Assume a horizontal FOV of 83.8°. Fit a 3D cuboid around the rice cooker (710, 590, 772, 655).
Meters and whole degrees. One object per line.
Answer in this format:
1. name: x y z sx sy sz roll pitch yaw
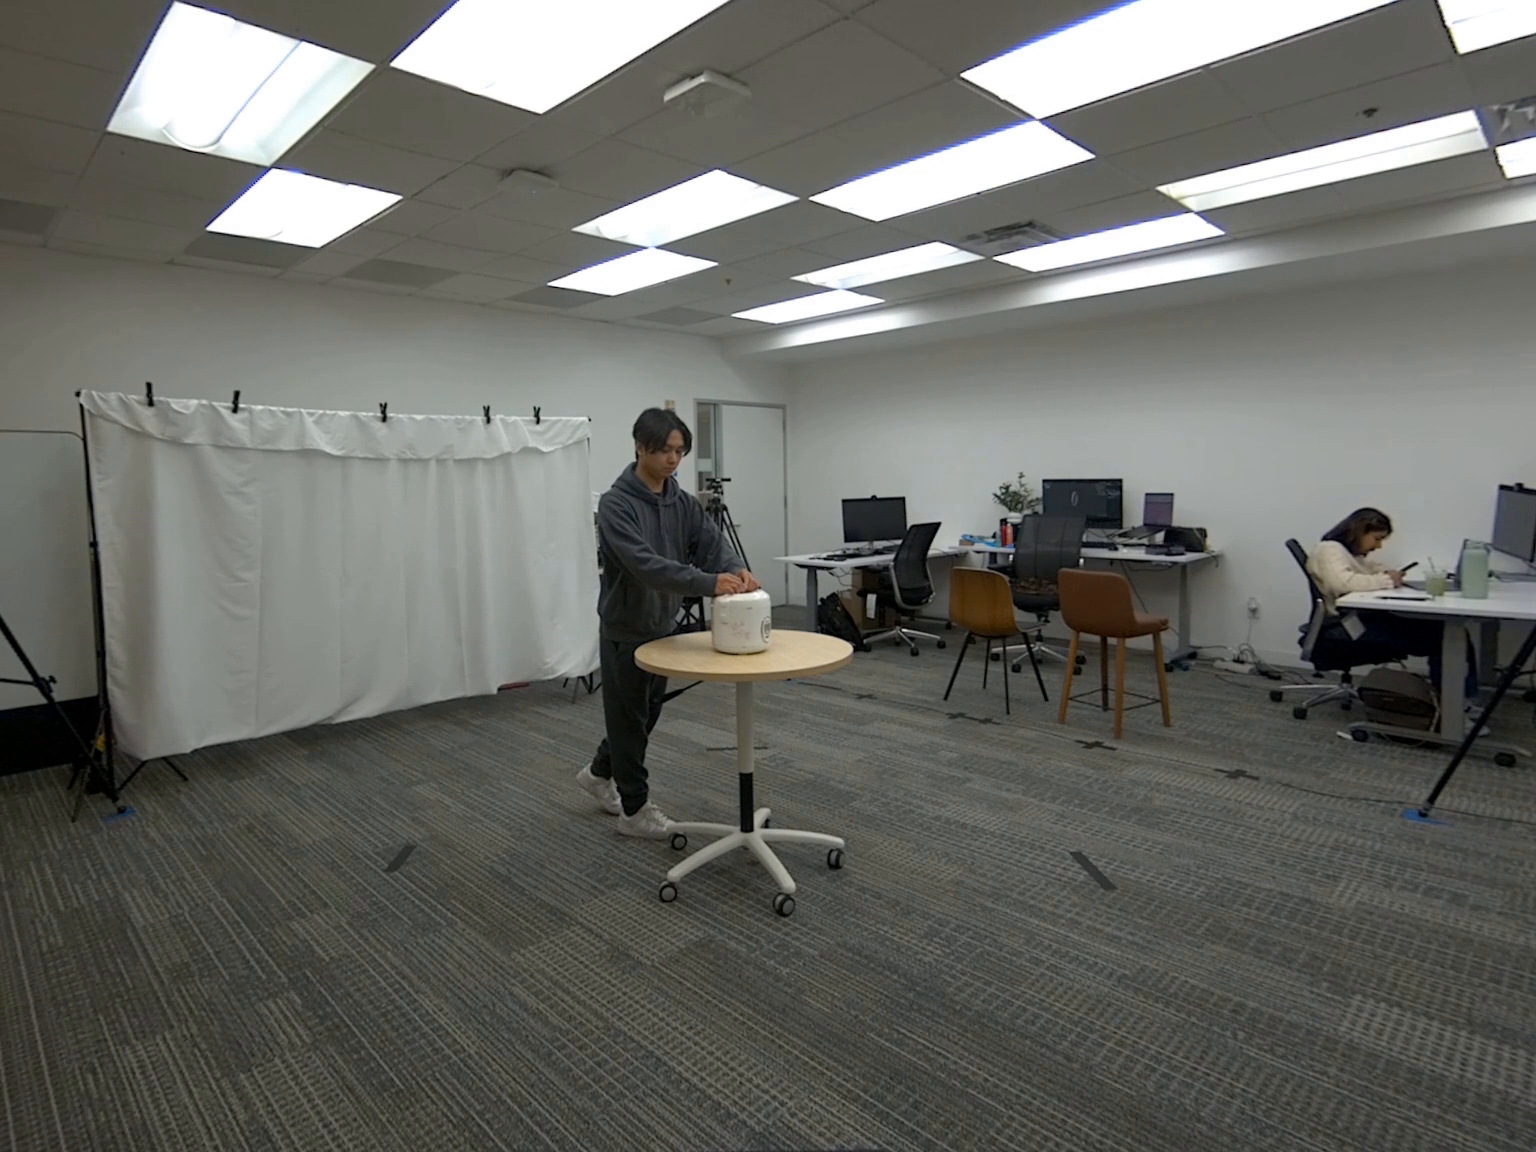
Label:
1. rice cooker: -0.094 0.140 2.985 0.223 0.232 0.215 -1 5 34
